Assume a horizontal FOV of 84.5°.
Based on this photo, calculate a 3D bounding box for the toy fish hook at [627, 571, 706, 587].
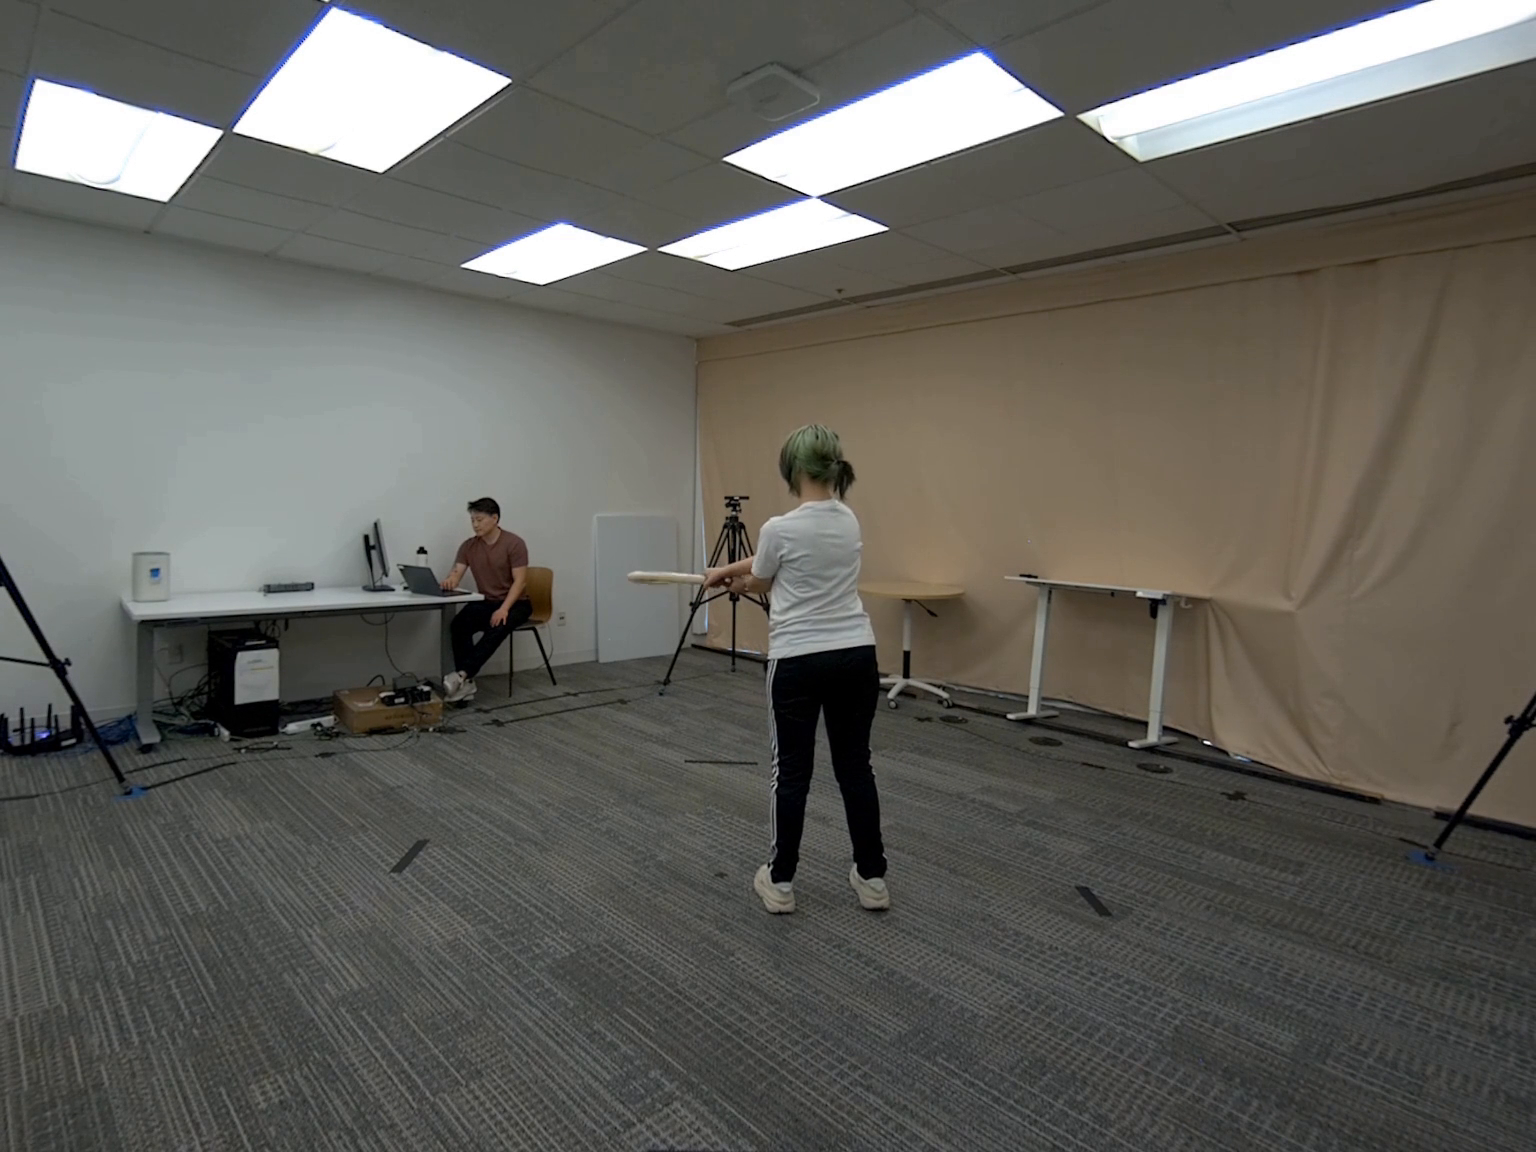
[{"bbox_3d":[-0.291,0.017,3.342,0.507,0.048,0.224,3,-2,1],"label":"toy fish hook"}]
